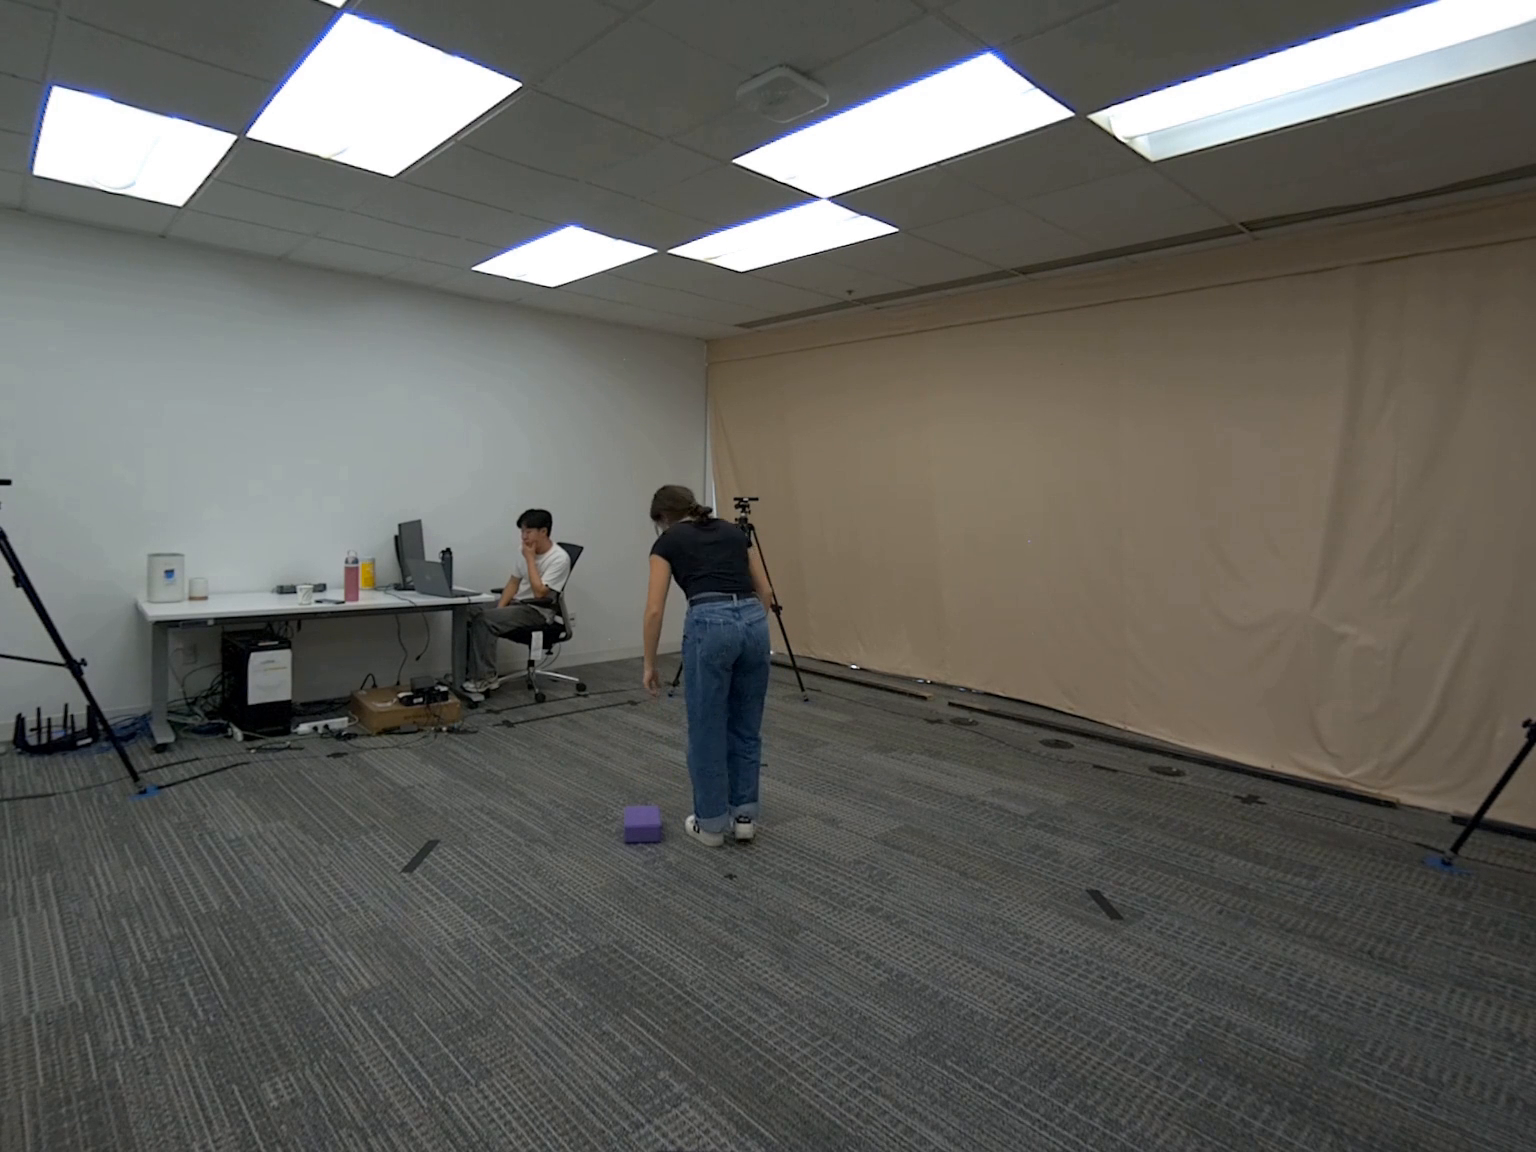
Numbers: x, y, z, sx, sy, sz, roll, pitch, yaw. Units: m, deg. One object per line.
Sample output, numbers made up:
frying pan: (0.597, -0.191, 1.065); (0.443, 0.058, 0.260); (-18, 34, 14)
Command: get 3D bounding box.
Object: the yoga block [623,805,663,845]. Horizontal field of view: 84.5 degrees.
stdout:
yoga block: (-0.524, 1.018, 3.488); (0.148, 0.076, 0.232); (0, 7, -8)
